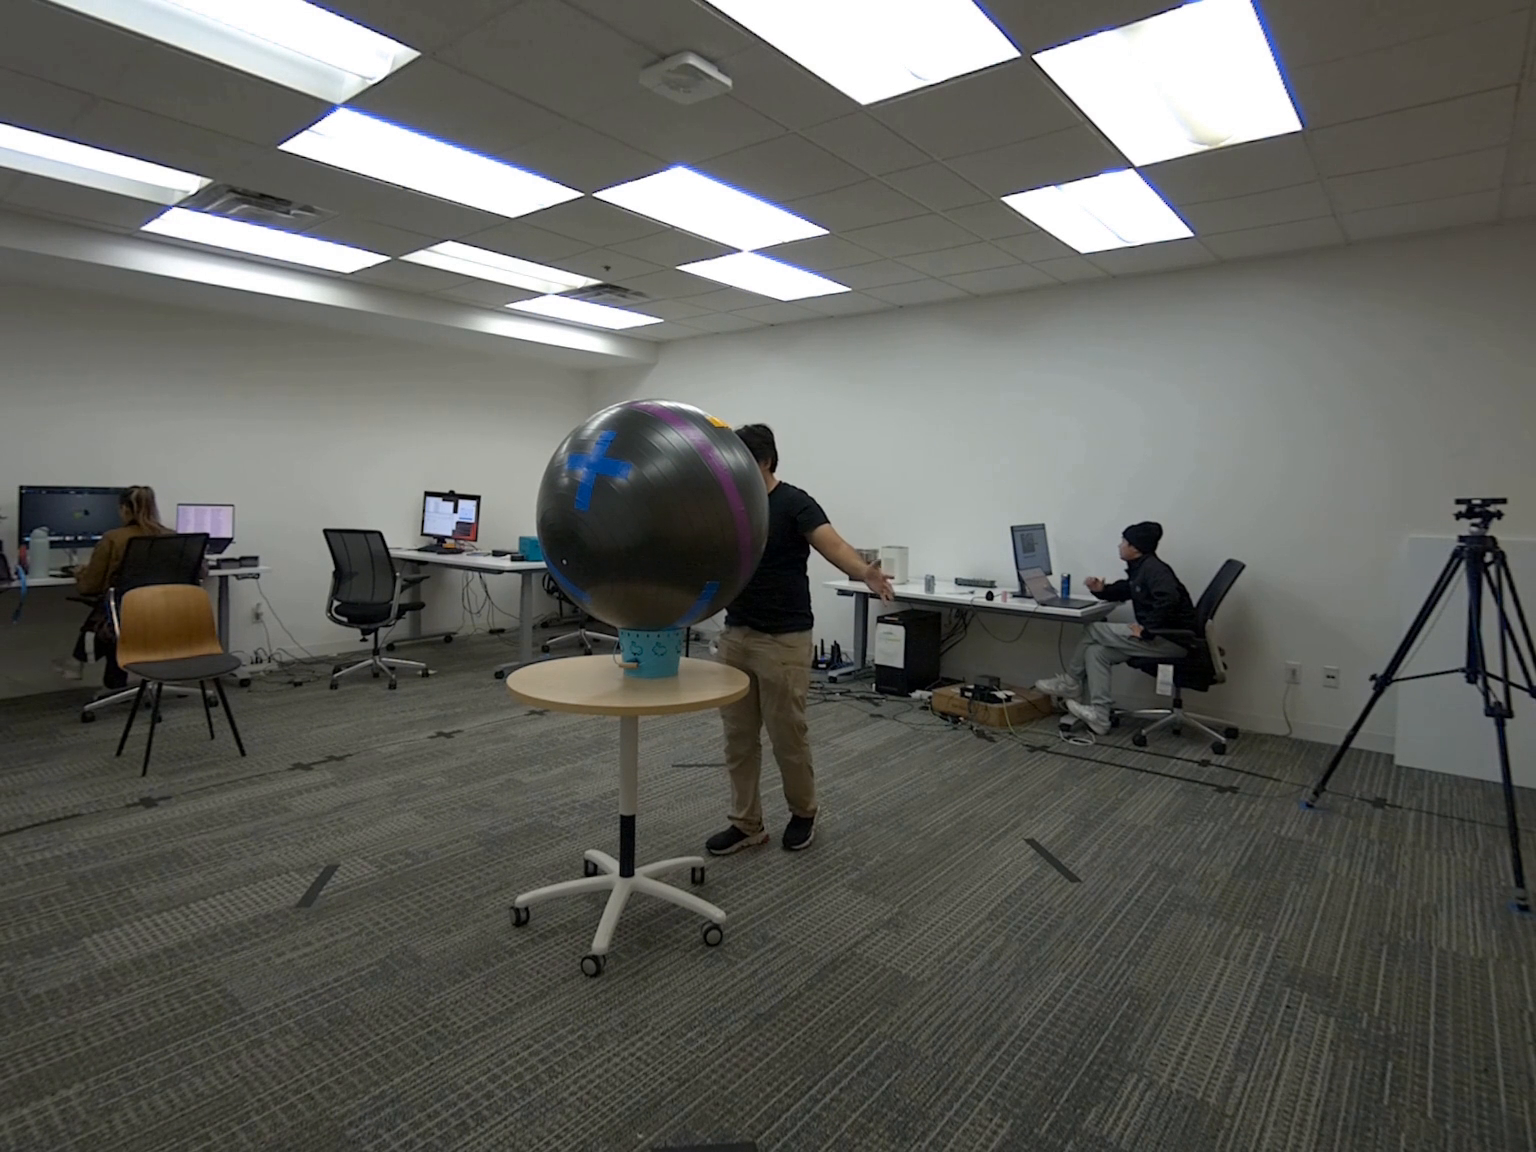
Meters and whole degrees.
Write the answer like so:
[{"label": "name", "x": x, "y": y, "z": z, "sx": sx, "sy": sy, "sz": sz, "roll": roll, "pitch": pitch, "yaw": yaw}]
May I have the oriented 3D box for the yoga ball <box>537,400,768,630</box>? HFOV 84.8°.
[{"label": "yoga ball", "x": -0.380, "y": -0.193, "z": 2.777, "sx": 0.757, "sy": 0.755, "sz": 0.762, "roll": 1, "pitch": 4, "yaw": -2}]
